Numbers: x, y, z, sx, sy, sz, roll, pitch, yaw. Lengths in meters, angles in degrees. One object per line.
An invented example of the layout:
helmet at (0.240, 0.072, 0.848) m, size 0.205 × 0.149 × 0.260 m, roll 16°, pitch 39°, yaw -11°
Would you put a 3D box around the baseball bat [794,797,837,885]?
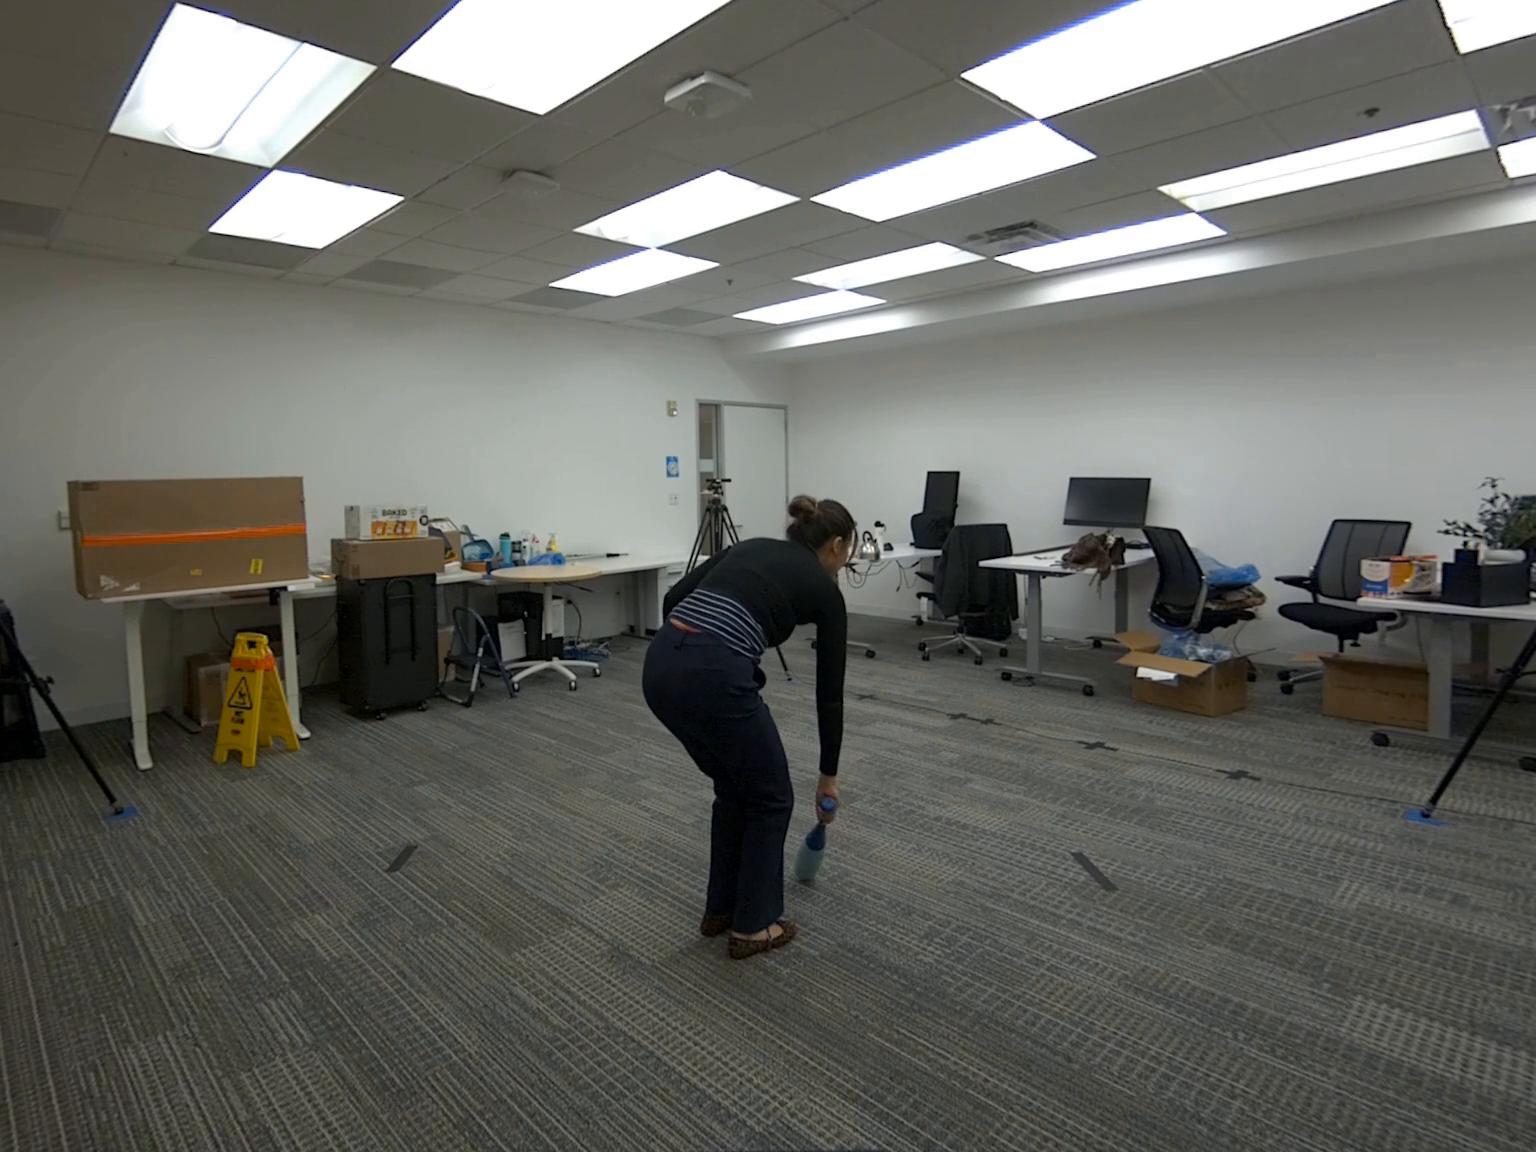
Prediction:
baseball bat at (0.165, 0.857, 2.786) m, size 0.089 × 0.091 × 0.530 m, roll 3°, pitch -41°, yaw -5°
